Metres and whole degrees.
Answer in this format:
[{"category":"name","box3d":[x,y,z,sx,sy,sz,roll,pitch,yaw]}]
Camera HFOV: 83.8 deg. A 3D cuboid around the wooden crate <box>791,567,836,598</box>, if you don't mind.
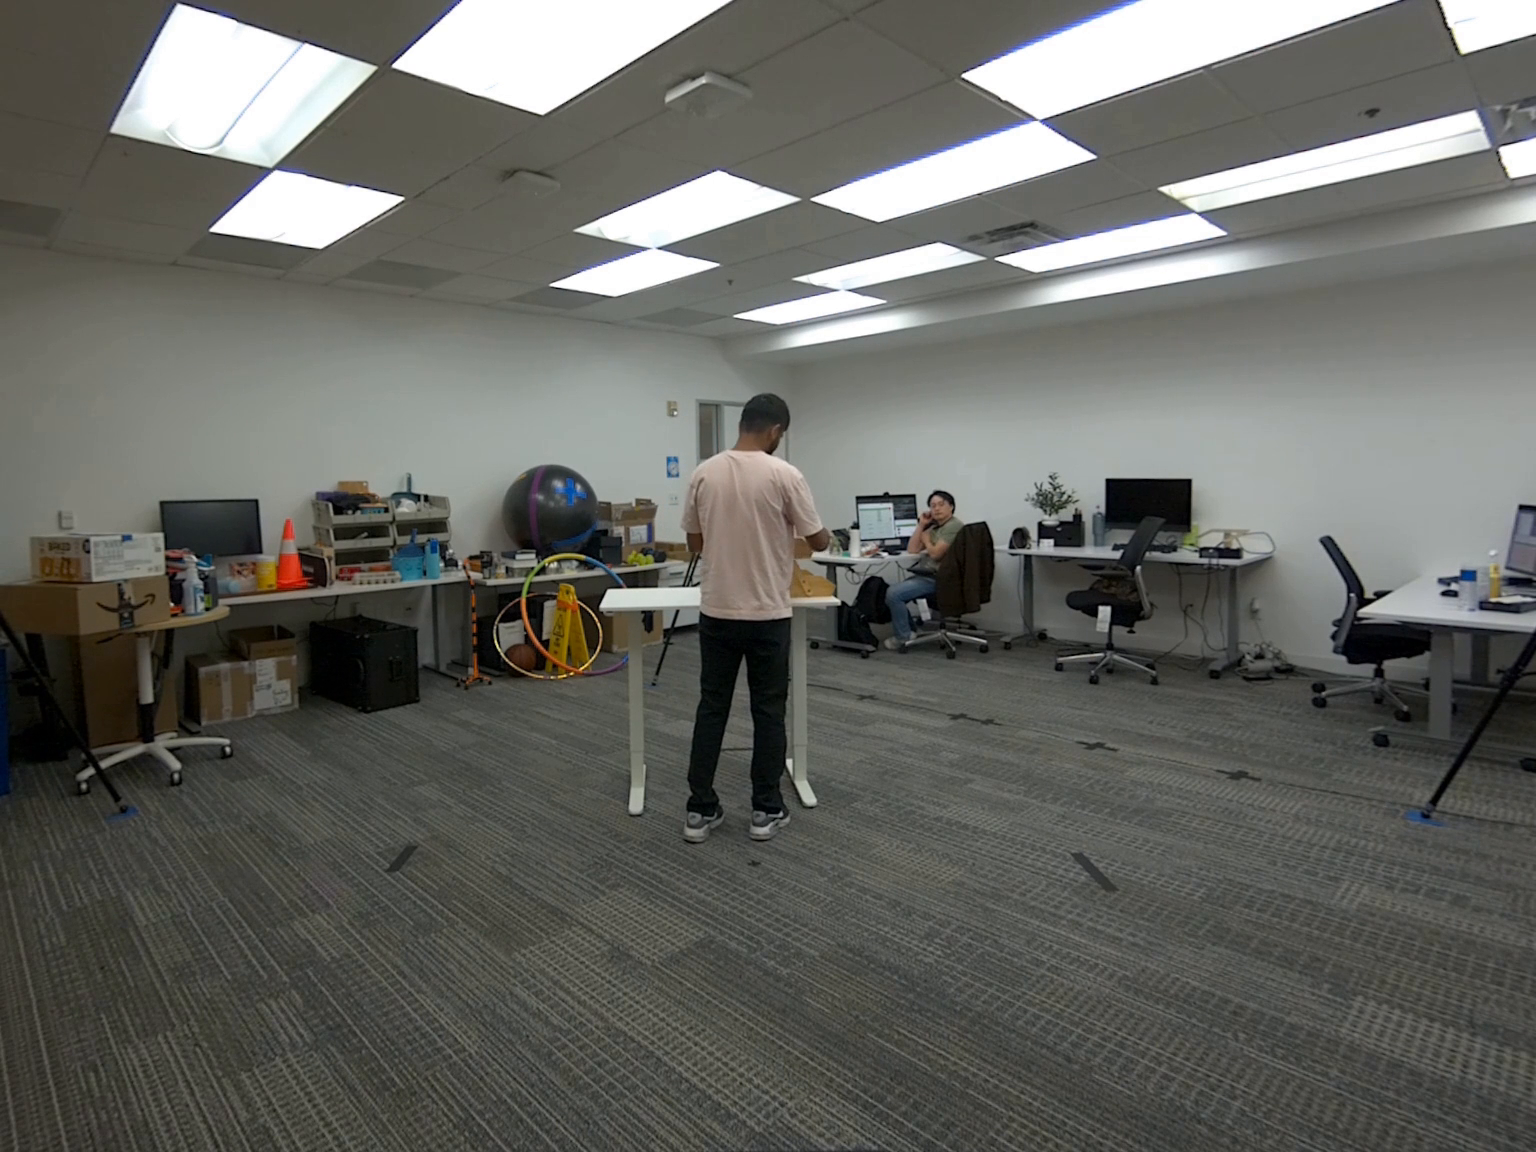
[{"category":"wooden crate","box3d":[0.133,-0.051,3.862,0.300,0.272,0.328,-2,5,-8]}]
